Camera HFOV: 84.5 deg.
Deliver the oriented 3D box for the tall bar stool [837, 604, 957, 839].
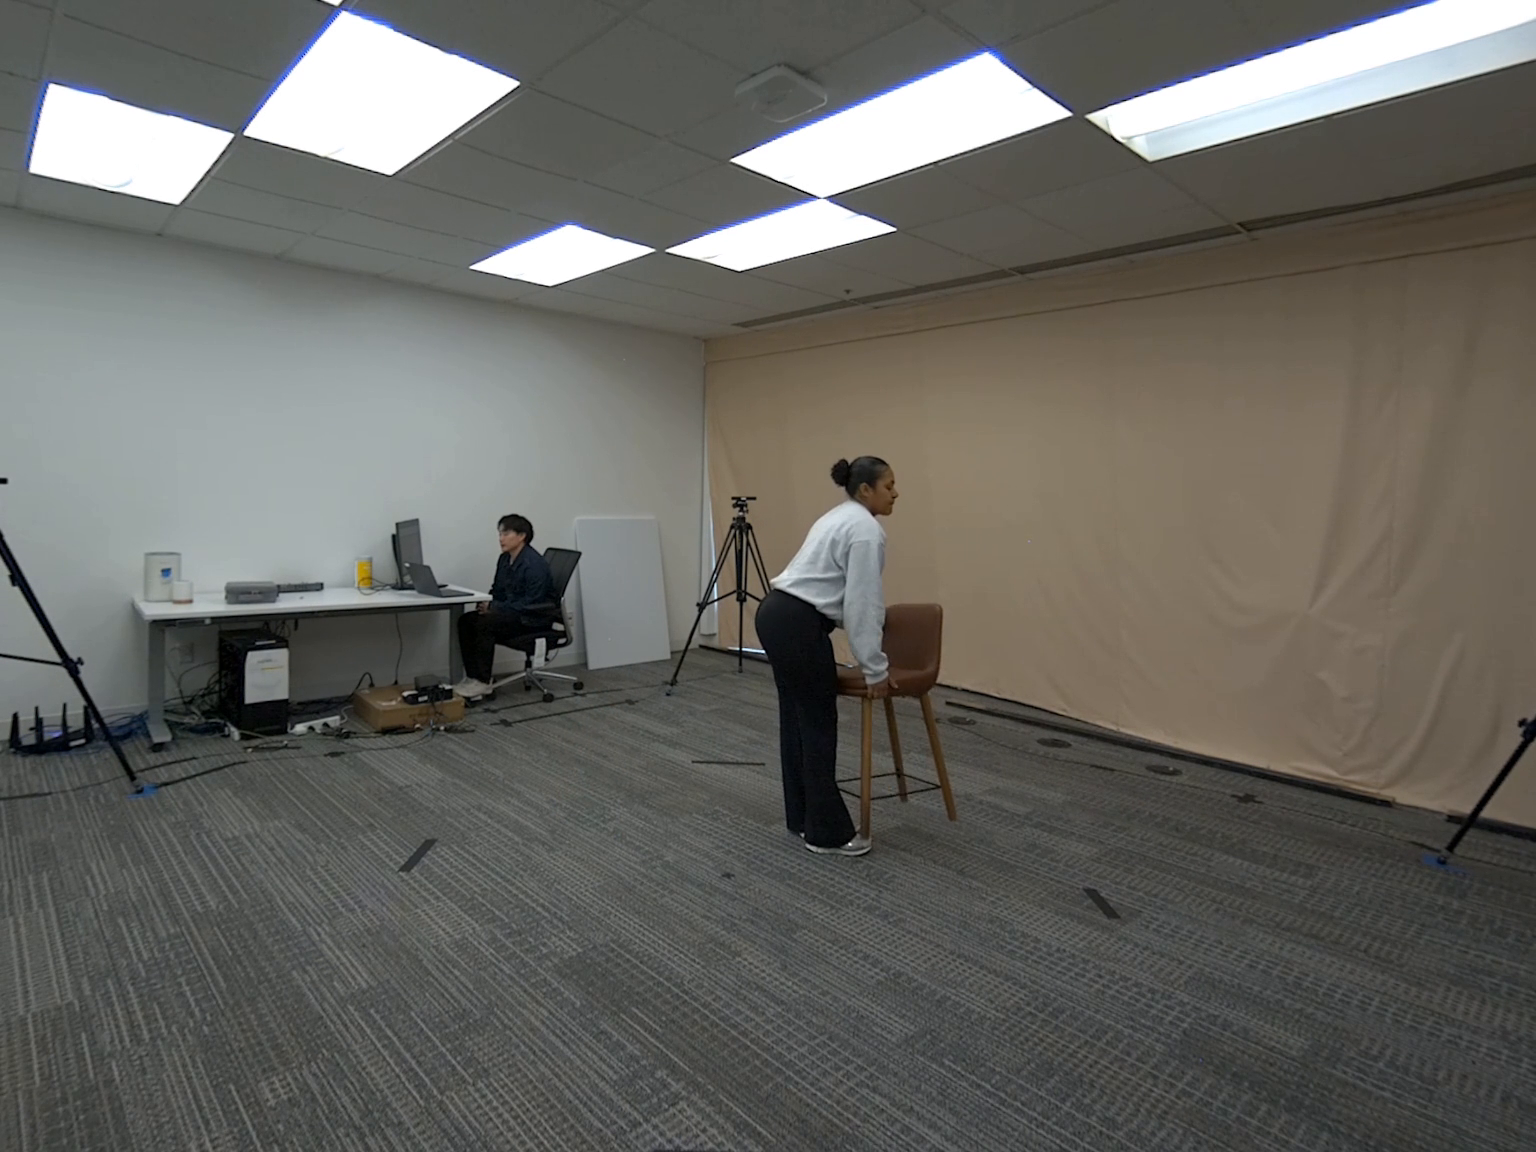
[{"bbox_3d":[0.465,0.570,3.501,0.459,0.892,0.463,0,-4,-24],"label":"tall bar stool"}]
